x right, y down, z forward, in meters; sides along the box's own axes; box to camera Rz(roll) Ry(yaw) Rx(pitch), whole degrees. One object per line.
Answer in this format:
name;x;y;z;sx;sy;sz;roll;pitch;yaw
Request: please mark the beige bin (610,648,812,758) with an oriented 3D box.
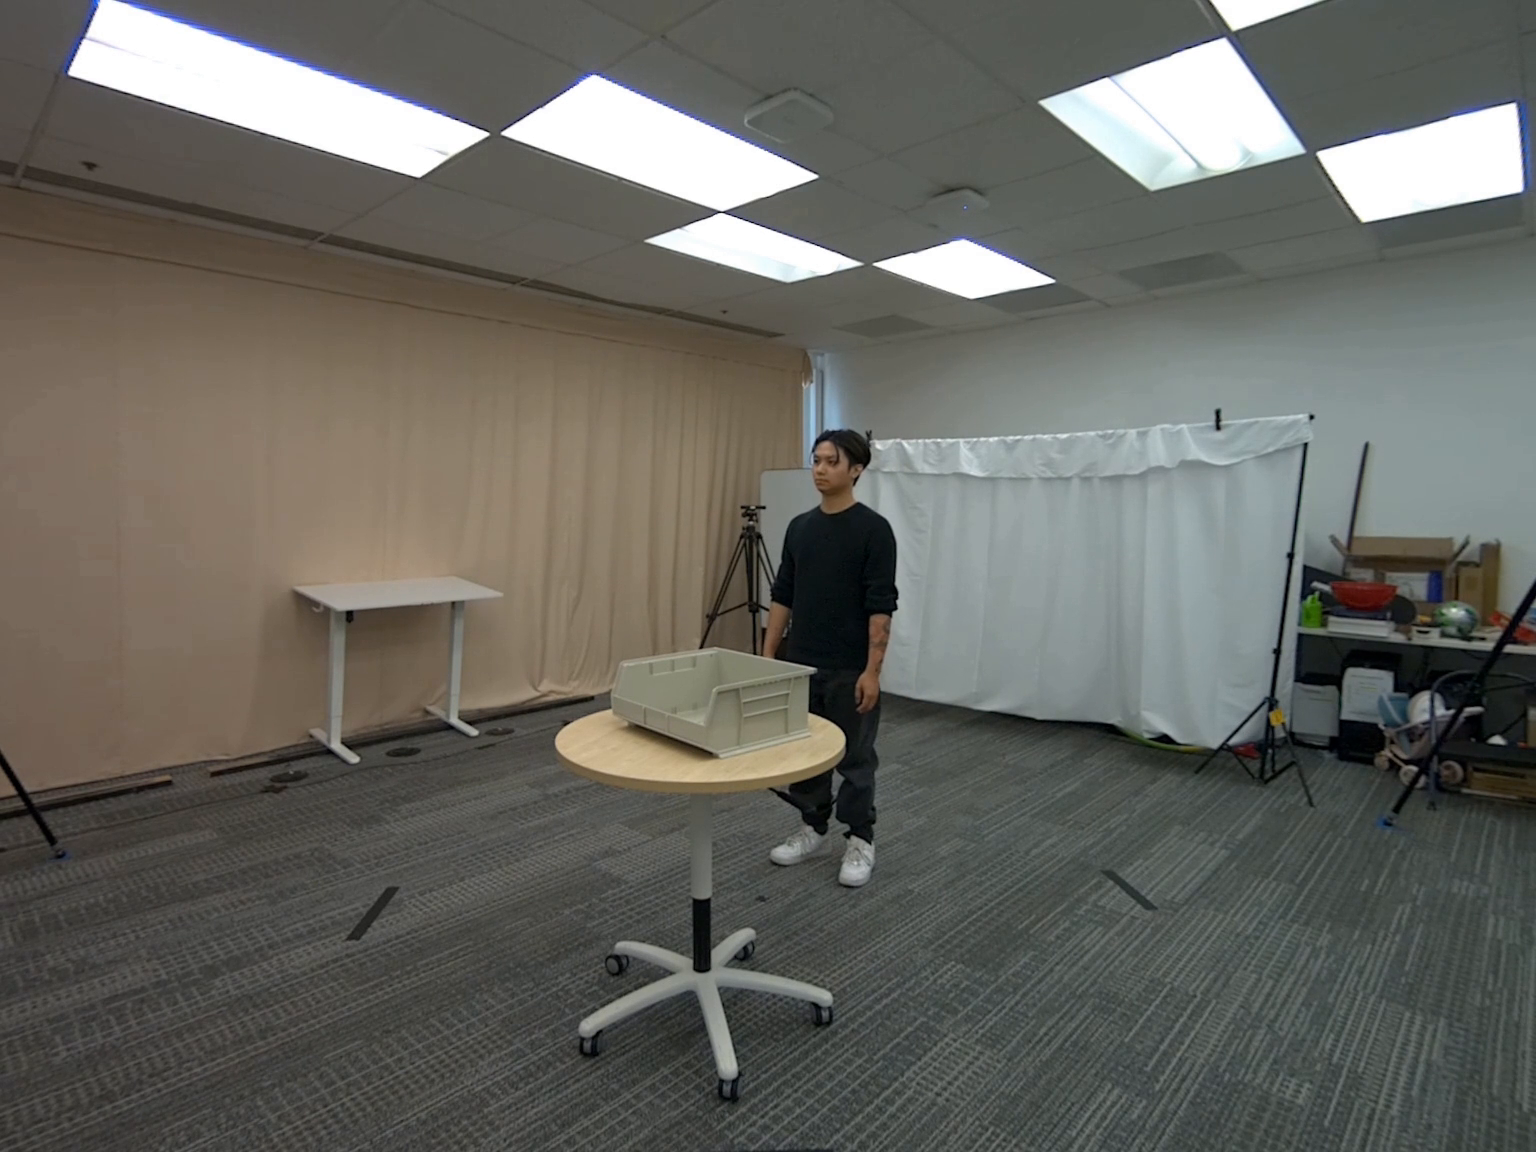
beige bin;-0.153;0.329;2.270;0.366;0.188;0.436;-2;5;-41
